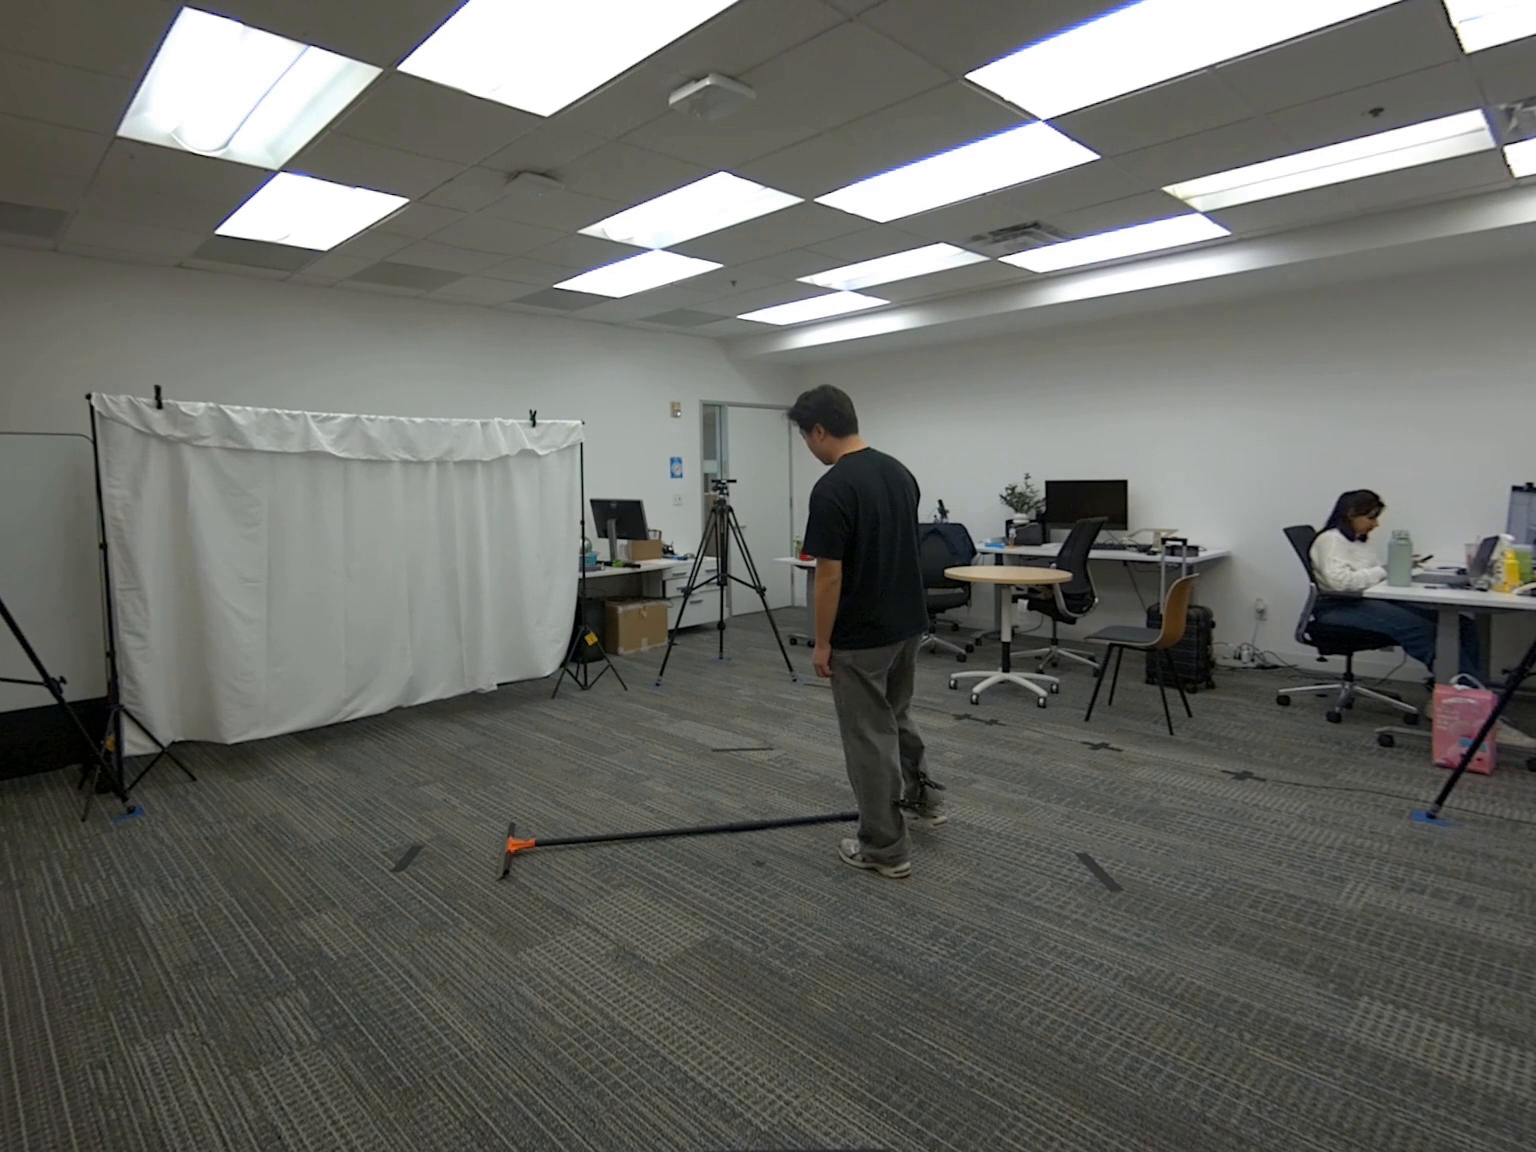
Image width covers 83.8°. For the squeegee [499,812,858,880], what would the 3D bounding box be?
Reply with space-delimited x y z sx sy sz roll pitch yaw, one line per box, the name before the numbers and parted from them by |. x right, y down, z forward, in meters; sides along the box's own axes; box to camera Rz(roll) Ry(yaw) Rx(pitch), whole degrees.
squeegee | -0.257 0.979 3.377 1.520 0.052 0.445 -3 8 -12
